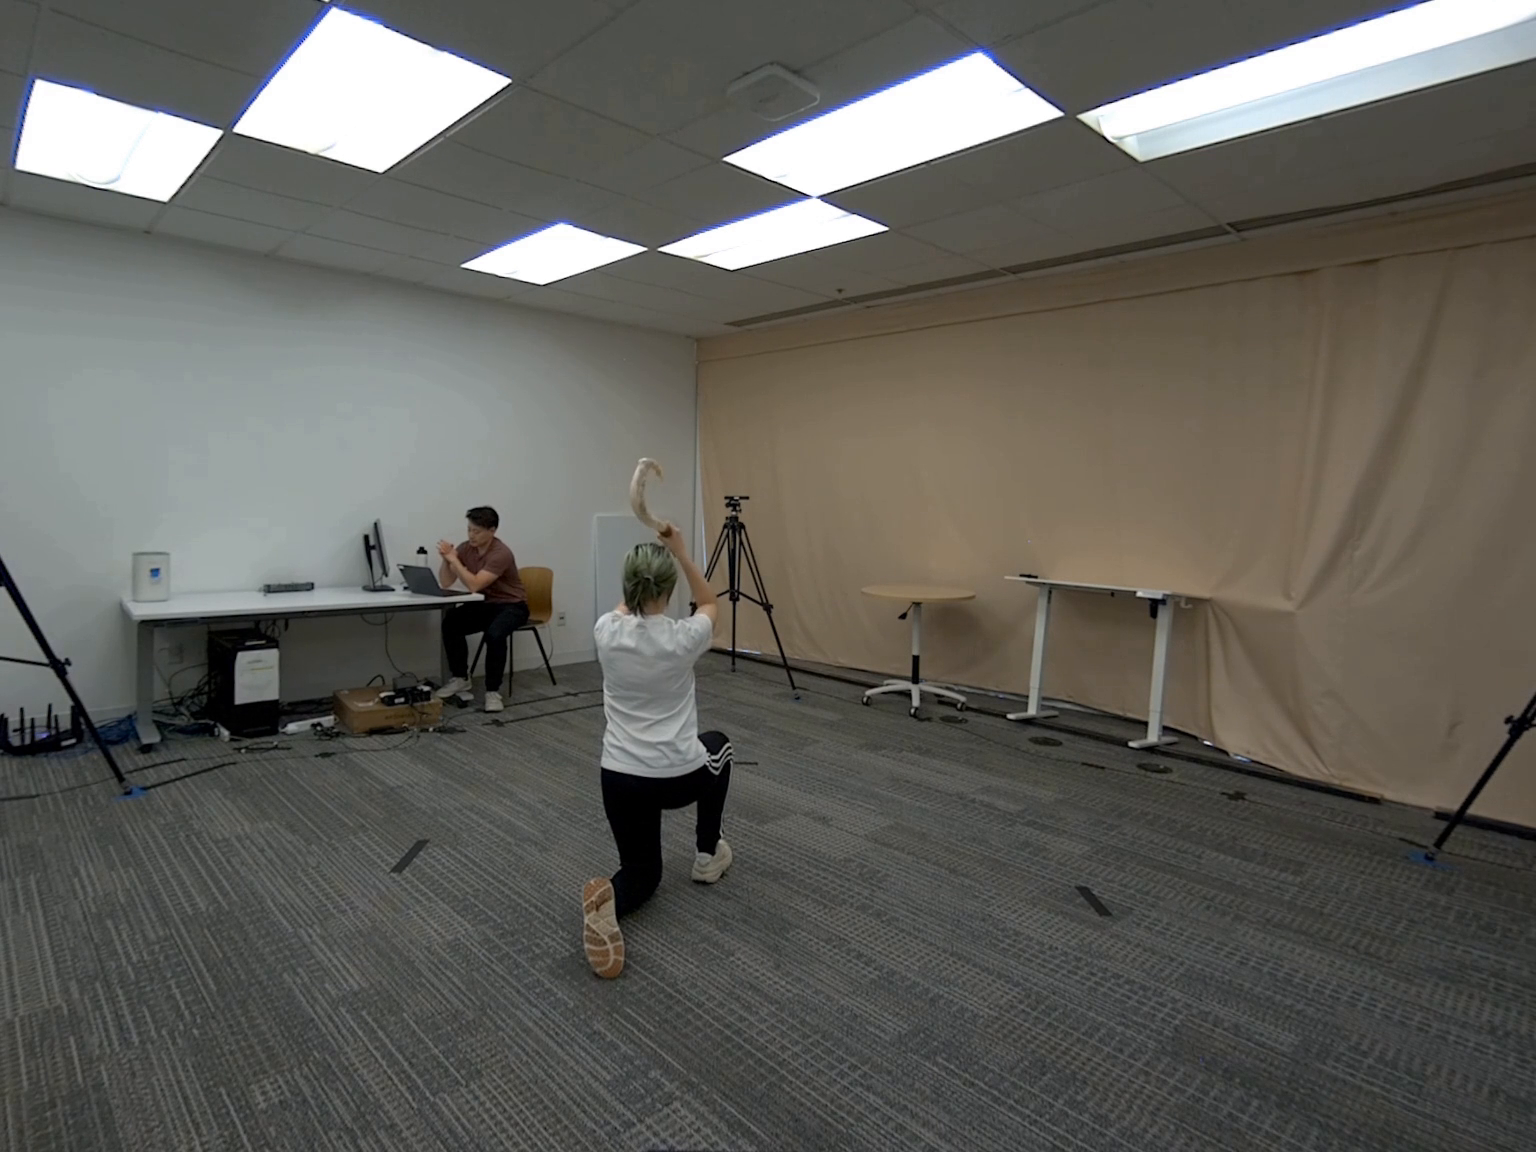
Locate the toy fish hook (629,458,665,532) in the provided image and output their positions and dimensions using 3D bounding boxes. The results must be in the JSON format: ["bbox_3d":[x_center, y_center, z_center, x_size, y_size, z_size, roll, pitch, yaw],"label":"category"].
[{"bbox_3d":[-0.384,-0.236,2.996,0.049,0.227,0.494,9,-22,16],"label":"toy fish hook"}]
